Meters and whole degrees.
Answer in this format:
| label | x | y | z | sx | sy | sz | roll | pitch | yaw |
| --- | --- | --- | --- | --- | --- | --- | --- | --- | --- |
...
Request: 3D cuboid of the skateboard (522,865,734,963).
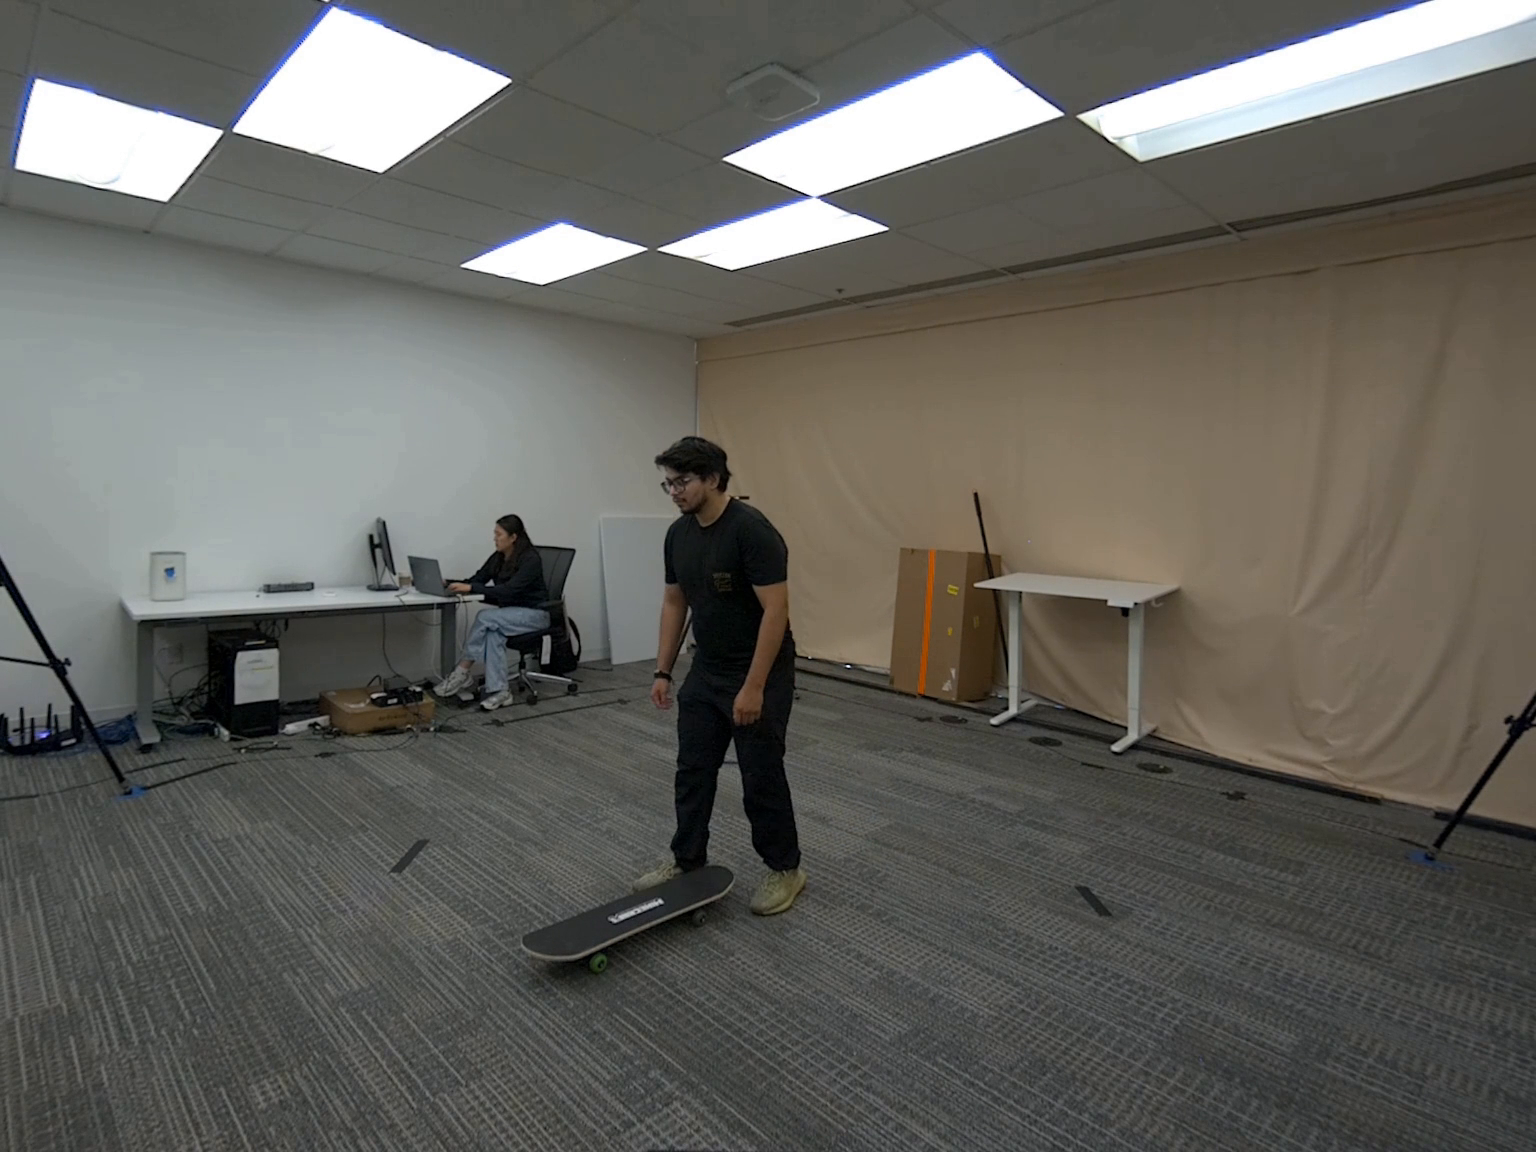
| label | x | y | z | sx | sy | sz | roll | pitch | yaw |
| --- | --- | --- | --- | --- | --- | --- | --- | --- | --- |
| skateboard | -0.416 | 1.088 | 2.640 | 0.198 | 0.110 | 0.767 | 5 | 6 | 45 |
